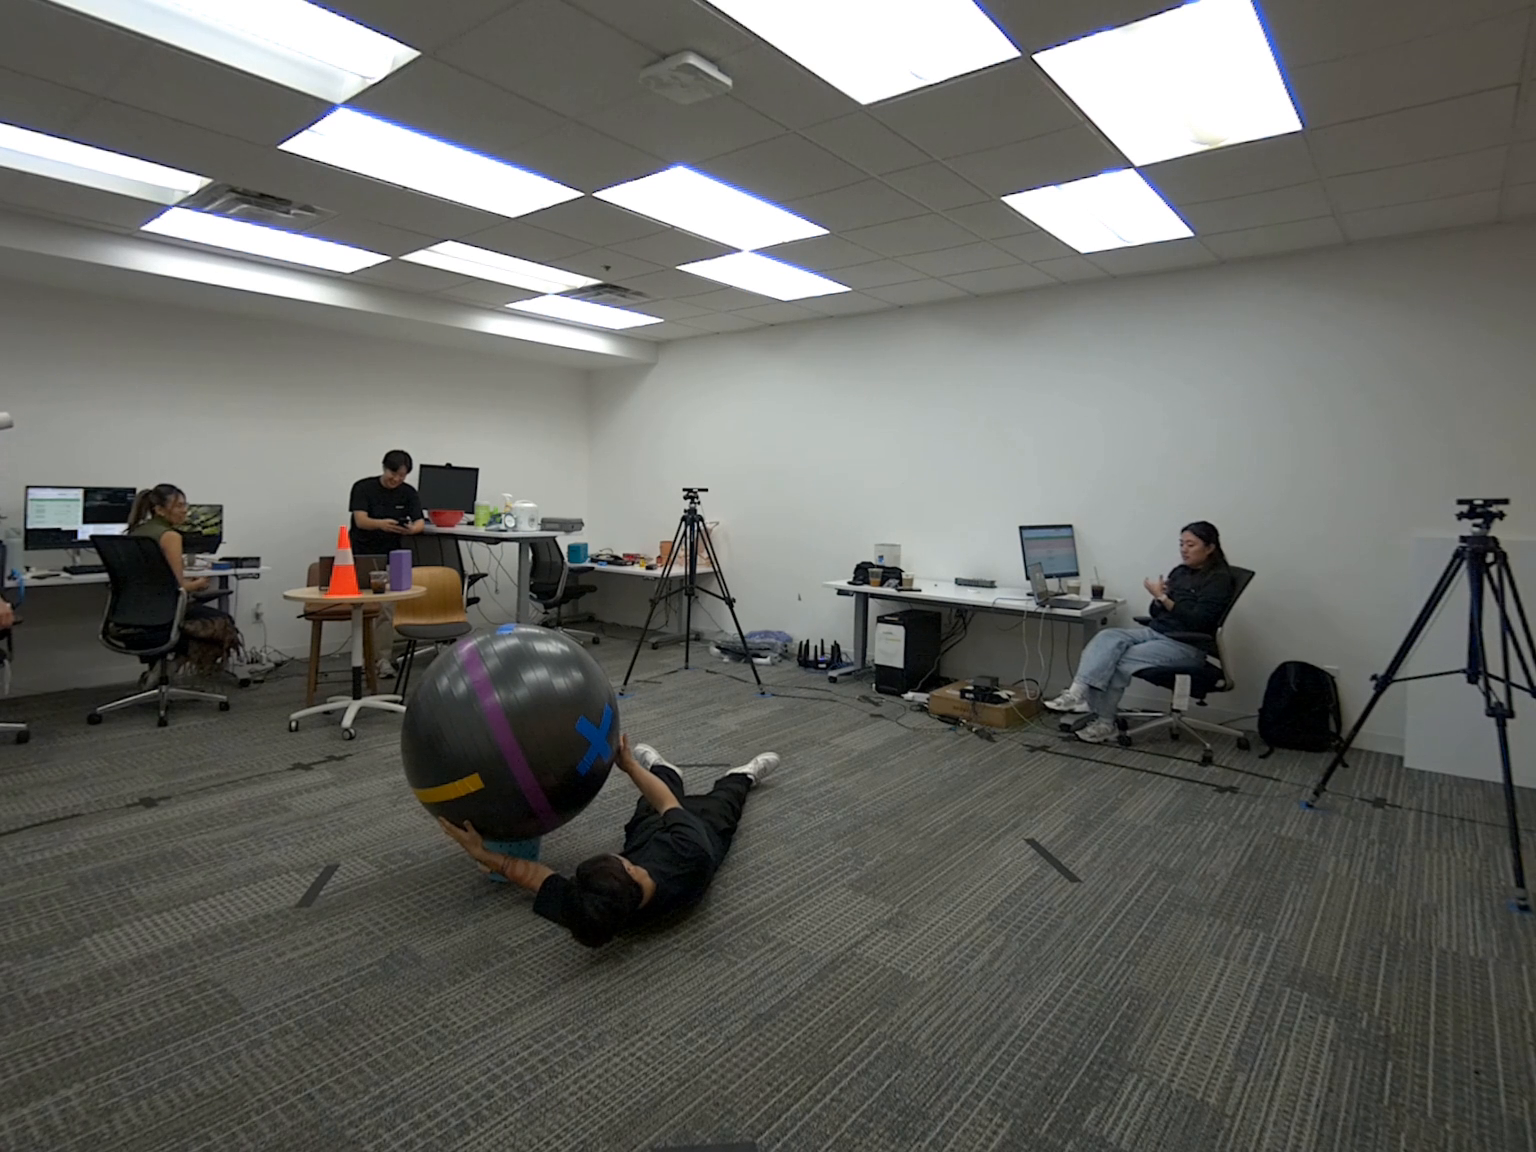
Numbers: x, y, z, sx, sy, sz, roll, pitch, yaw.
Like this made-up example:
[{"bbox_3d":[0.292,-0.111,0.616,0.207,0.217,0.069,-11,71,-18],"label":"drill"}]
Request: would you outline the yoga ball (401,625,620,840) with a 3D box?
[{"bbox_3d":[-0.925,0.556,3.046,0.757,0.755,0.762,1,4,-2],"label":"yoga ball"}]
